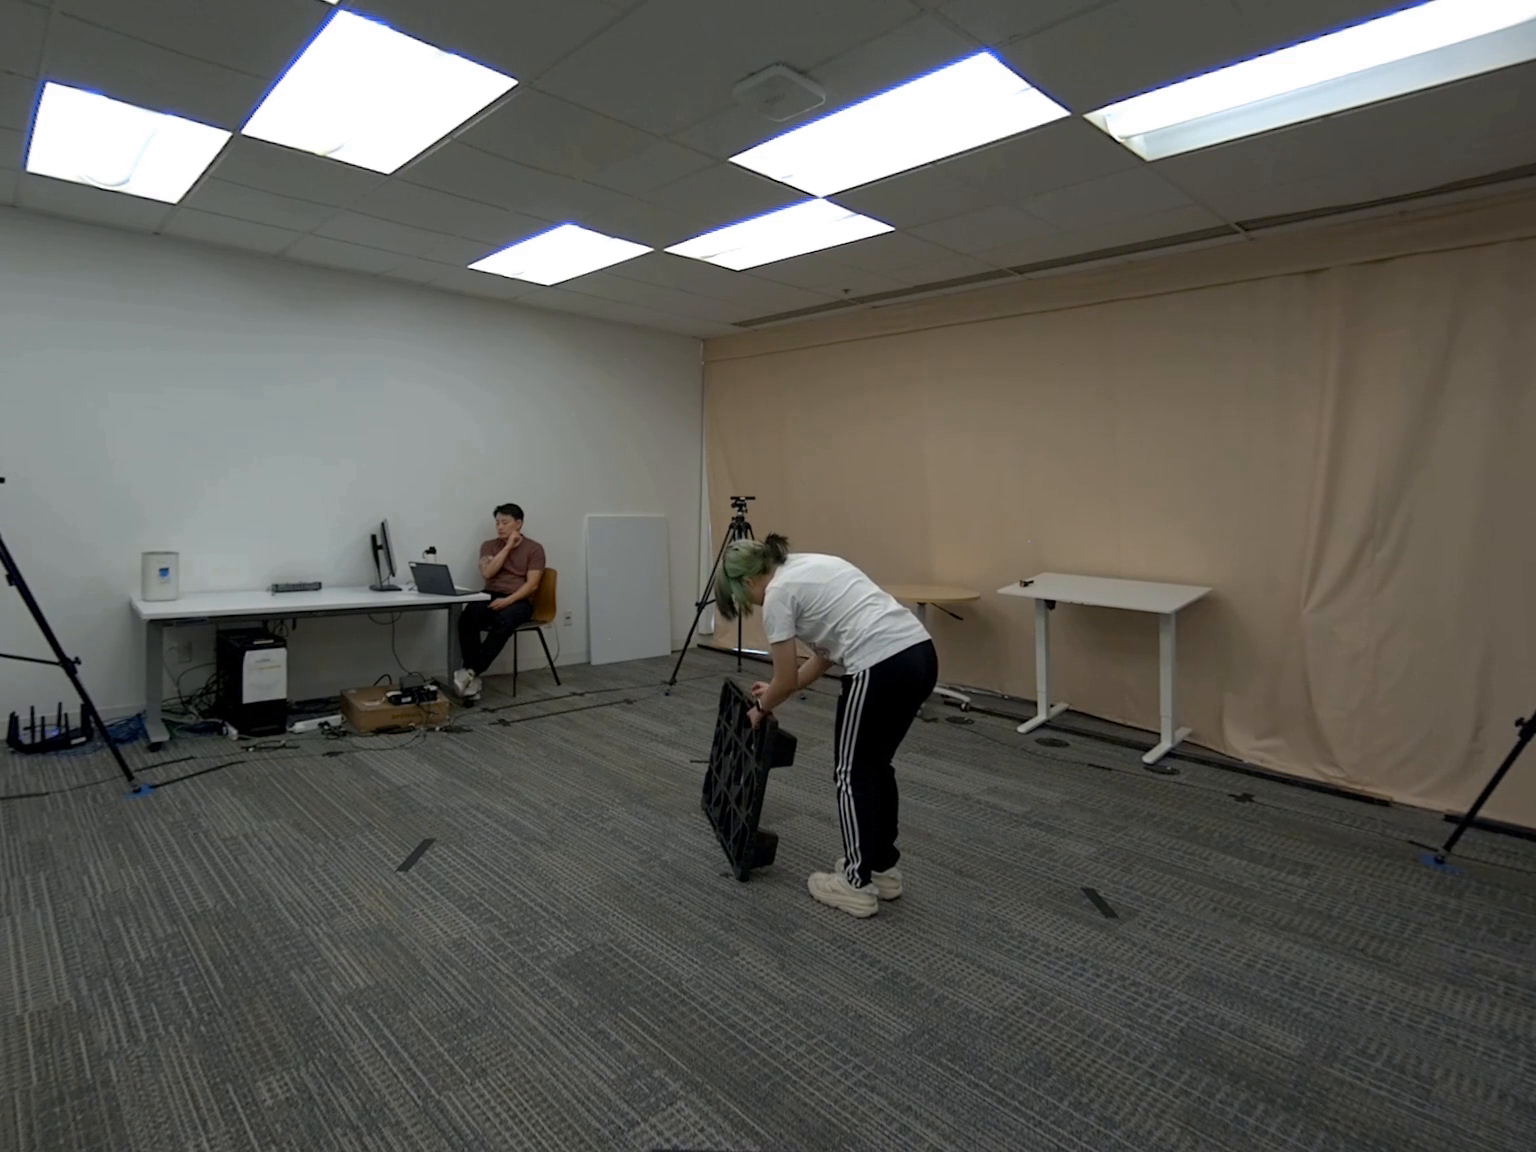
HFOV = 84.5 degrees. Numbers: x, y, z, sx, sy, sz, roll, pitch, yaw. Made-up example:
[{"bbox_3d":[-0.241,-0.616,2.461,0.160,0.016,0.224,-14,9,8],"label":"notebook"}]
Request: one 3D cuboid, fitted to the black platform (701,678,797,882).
[{"bbox_3d":[-0.100,0.781,3.441,0.141,0.604,0.816,11,2,-15],"label":"black platform"}]
